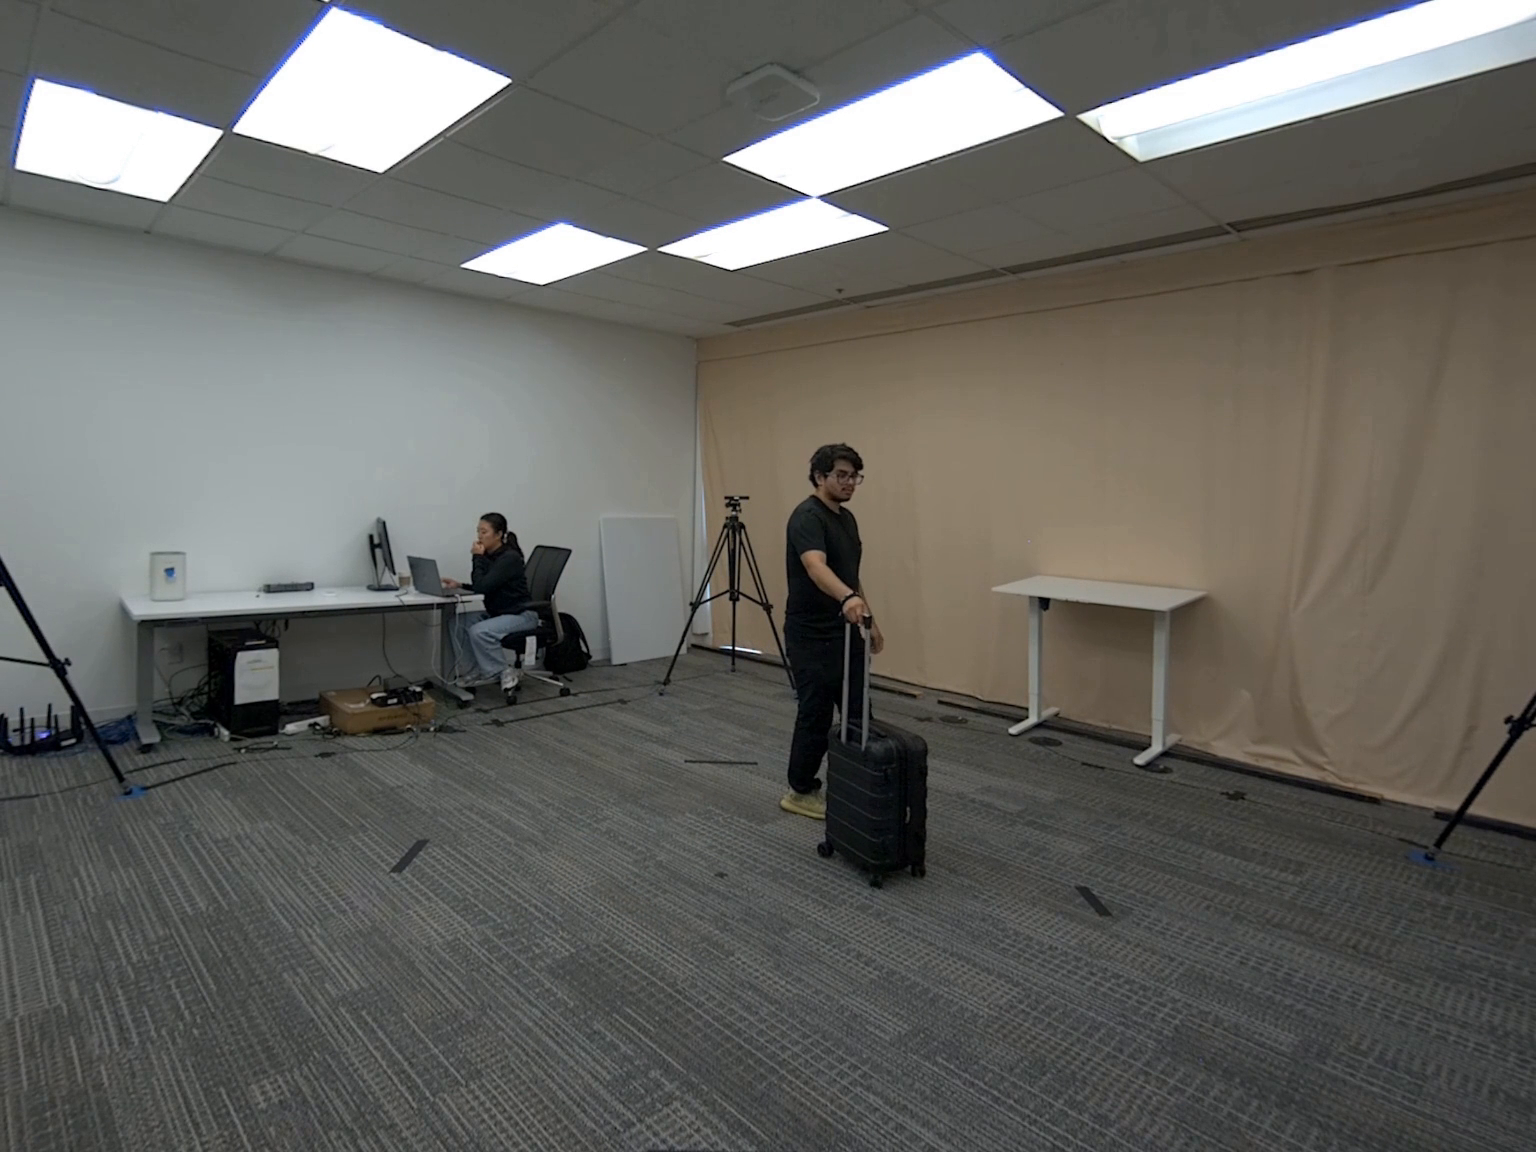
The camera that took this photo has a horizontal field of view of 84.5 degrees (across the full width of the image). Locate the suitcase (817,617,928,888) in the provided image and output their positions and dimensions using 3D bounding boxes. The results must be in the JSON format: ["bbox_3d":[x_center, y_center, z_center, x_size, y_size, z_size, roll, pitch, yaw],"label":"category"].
[{"bbox_3d":[0.409,0.633,3.165,0.252,0.975,0.393,0,6,-28],"label":"suitcase"}]
